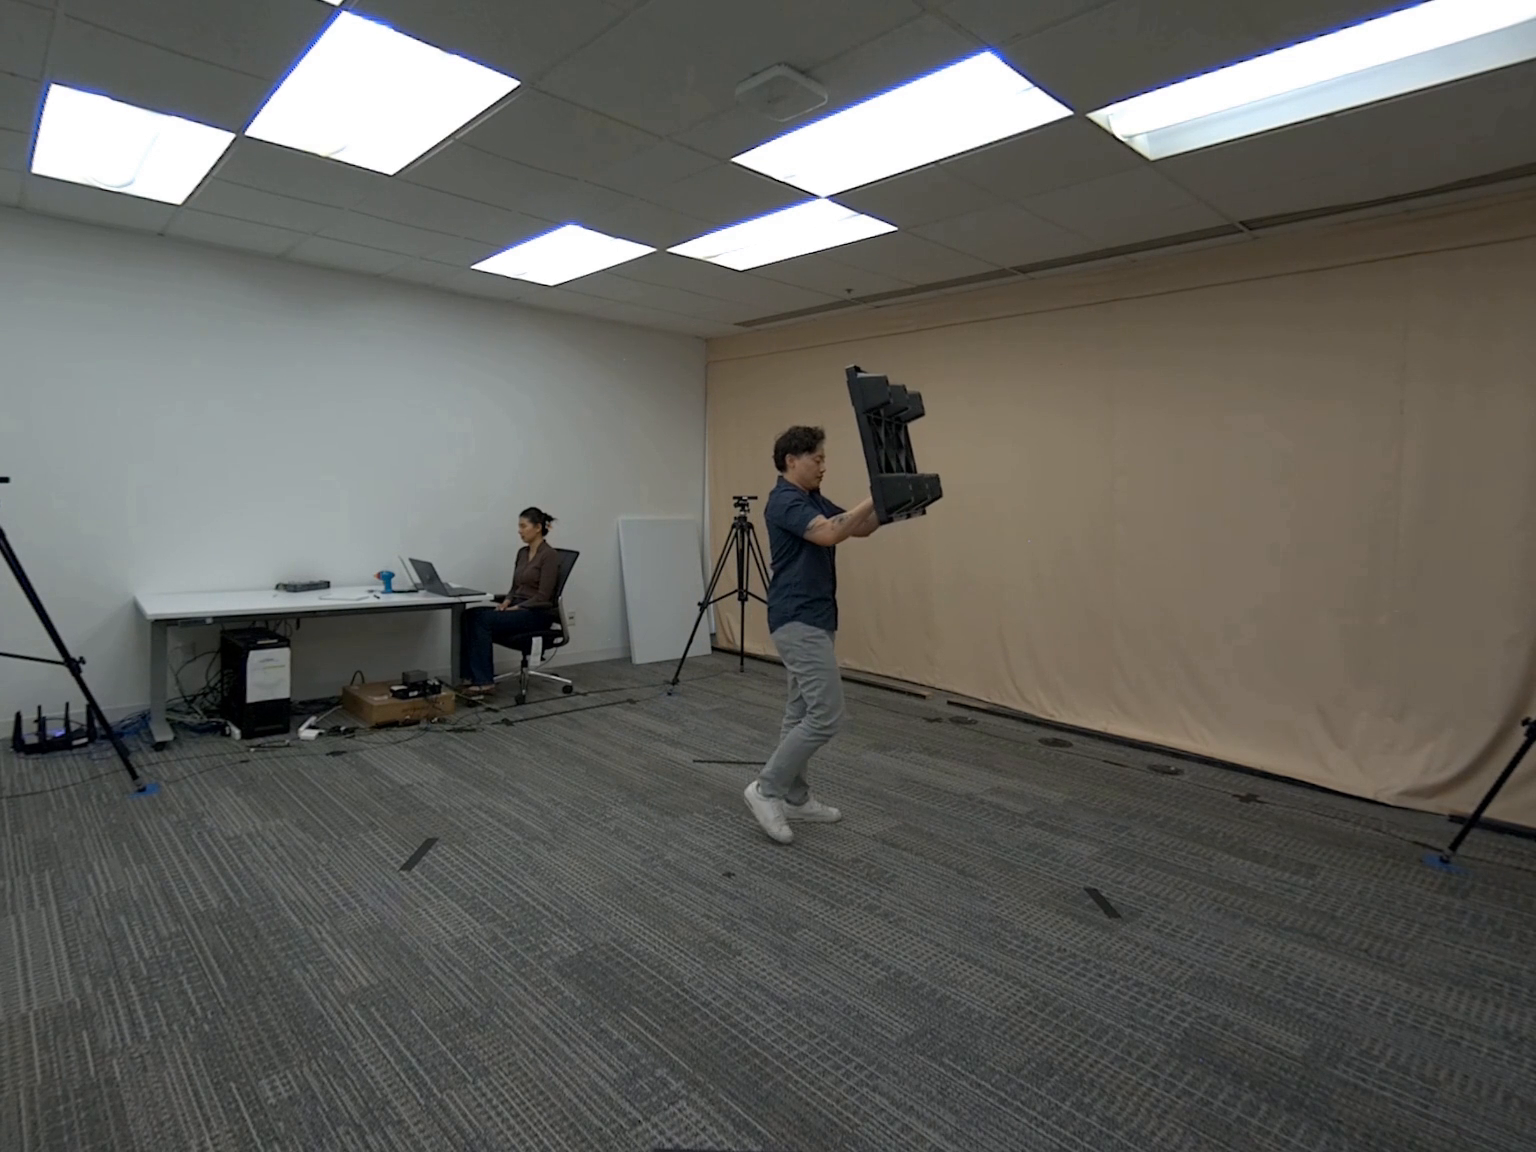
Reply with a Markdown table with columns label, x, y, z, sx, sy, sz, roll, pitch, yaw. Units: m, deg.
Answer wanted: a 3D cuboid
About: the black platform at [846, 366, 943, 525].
| label | x | y | z | sx | sy | sz | roll | pitch | yaw |
| --- | --- | --- | --- | --- | --- | --- | --- | --- | --- |
| black platform | 0.530 | -0.535 | 3.428 | 0.145 | 0.605 | 0.795 | -11 | 1 | 21 |
